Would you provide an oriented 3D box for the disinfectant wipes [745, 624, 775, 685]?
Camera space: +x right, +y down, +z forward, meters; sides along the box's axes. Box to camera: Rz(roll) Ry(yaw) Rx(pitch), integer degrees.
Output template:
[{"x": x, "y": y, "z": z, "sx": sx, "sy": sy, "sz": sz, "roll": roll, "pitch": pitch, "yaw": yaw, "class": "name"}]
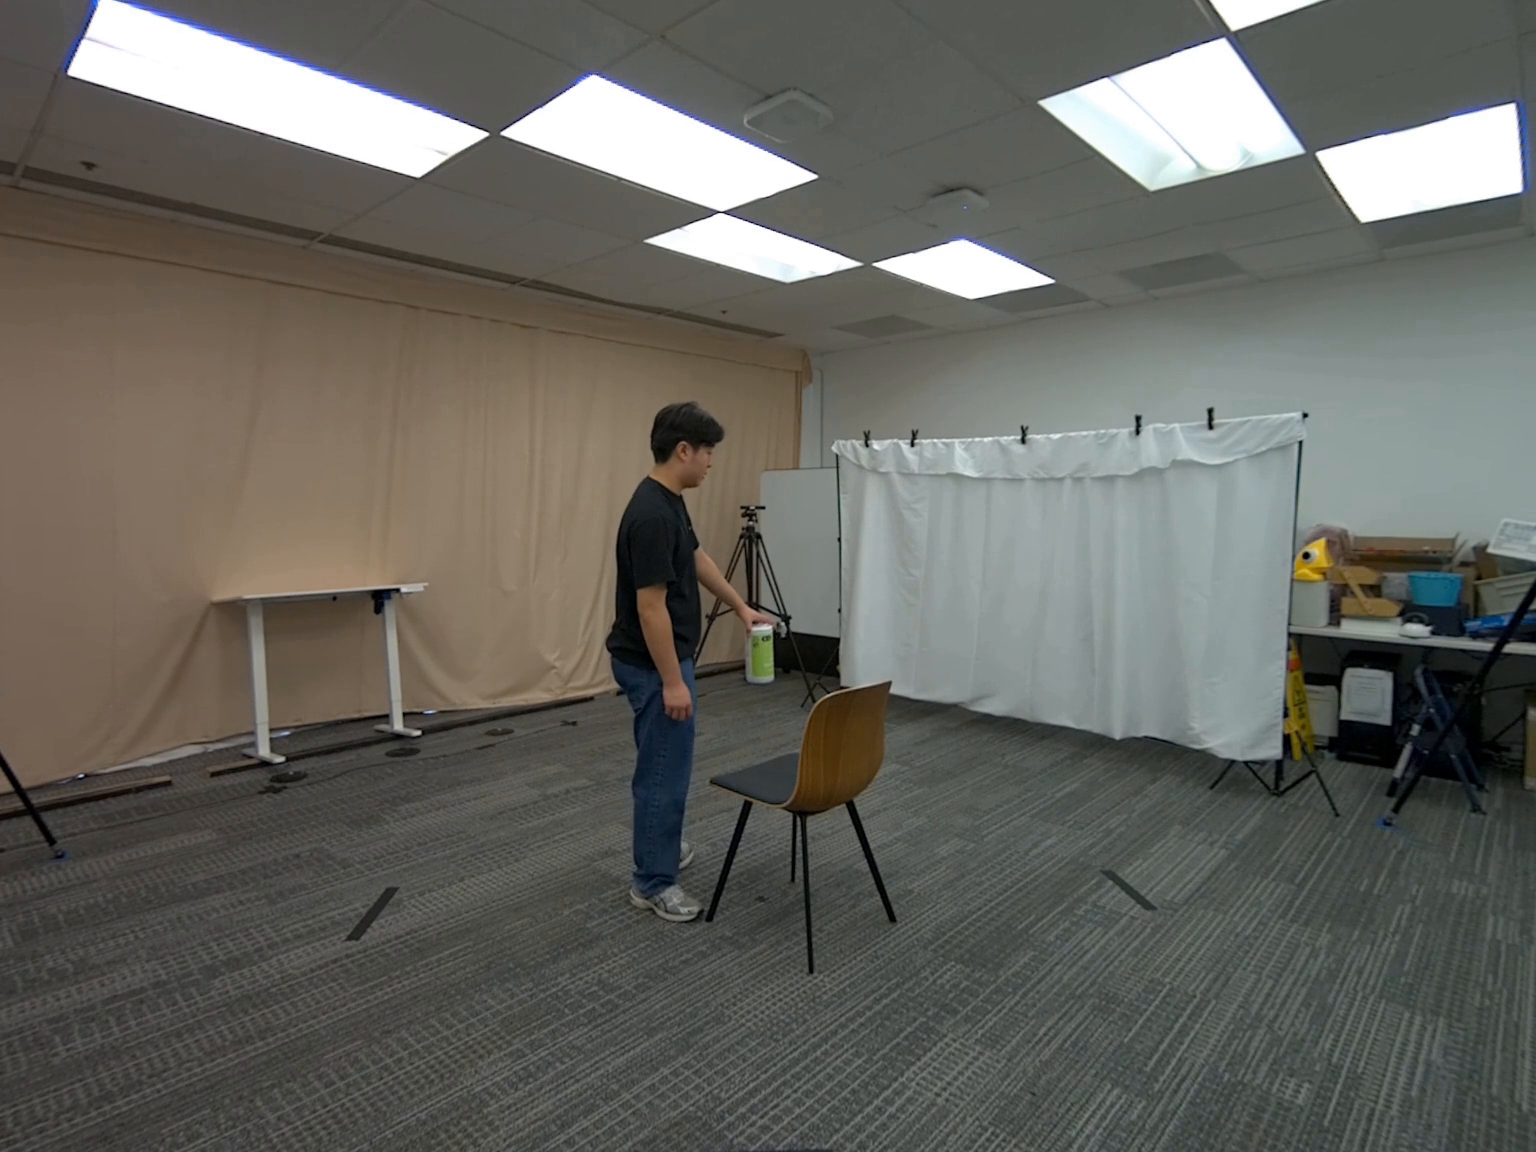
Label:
[{"x": -0.031, "y": 0.294, "z": 3.265, "sx": 0.118, "sy": 0.216, "sz": 0.118, "roll": -3, "pitch": 7, "yaw": -1, "class": "disinfectant wipes"}]
